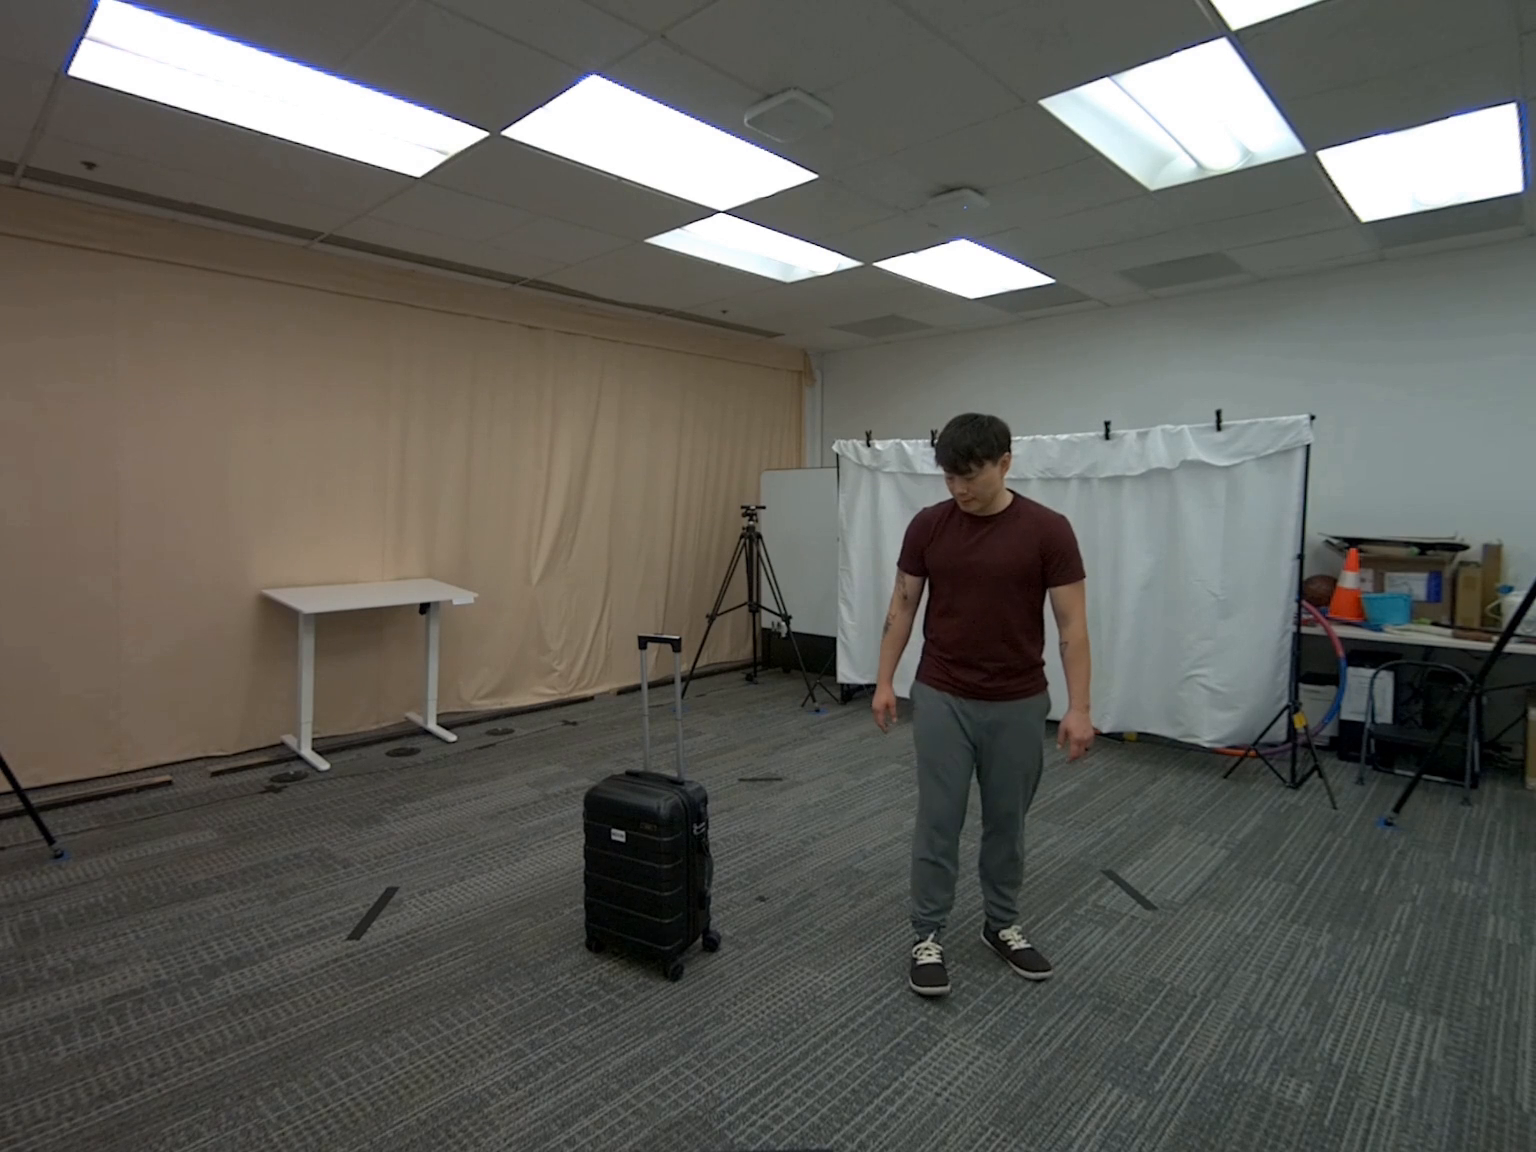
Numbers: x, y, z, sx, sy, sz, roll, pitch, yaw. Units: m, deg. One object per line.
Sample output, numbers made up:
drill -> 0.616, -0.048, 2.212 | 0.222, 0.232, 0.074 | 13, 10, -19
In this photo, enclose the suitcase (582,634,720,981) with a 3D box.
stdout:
suitcase -> -0.378, 0.700, 2.601 | 0.395, 0.975, 0.250 | 1, 6, 31
